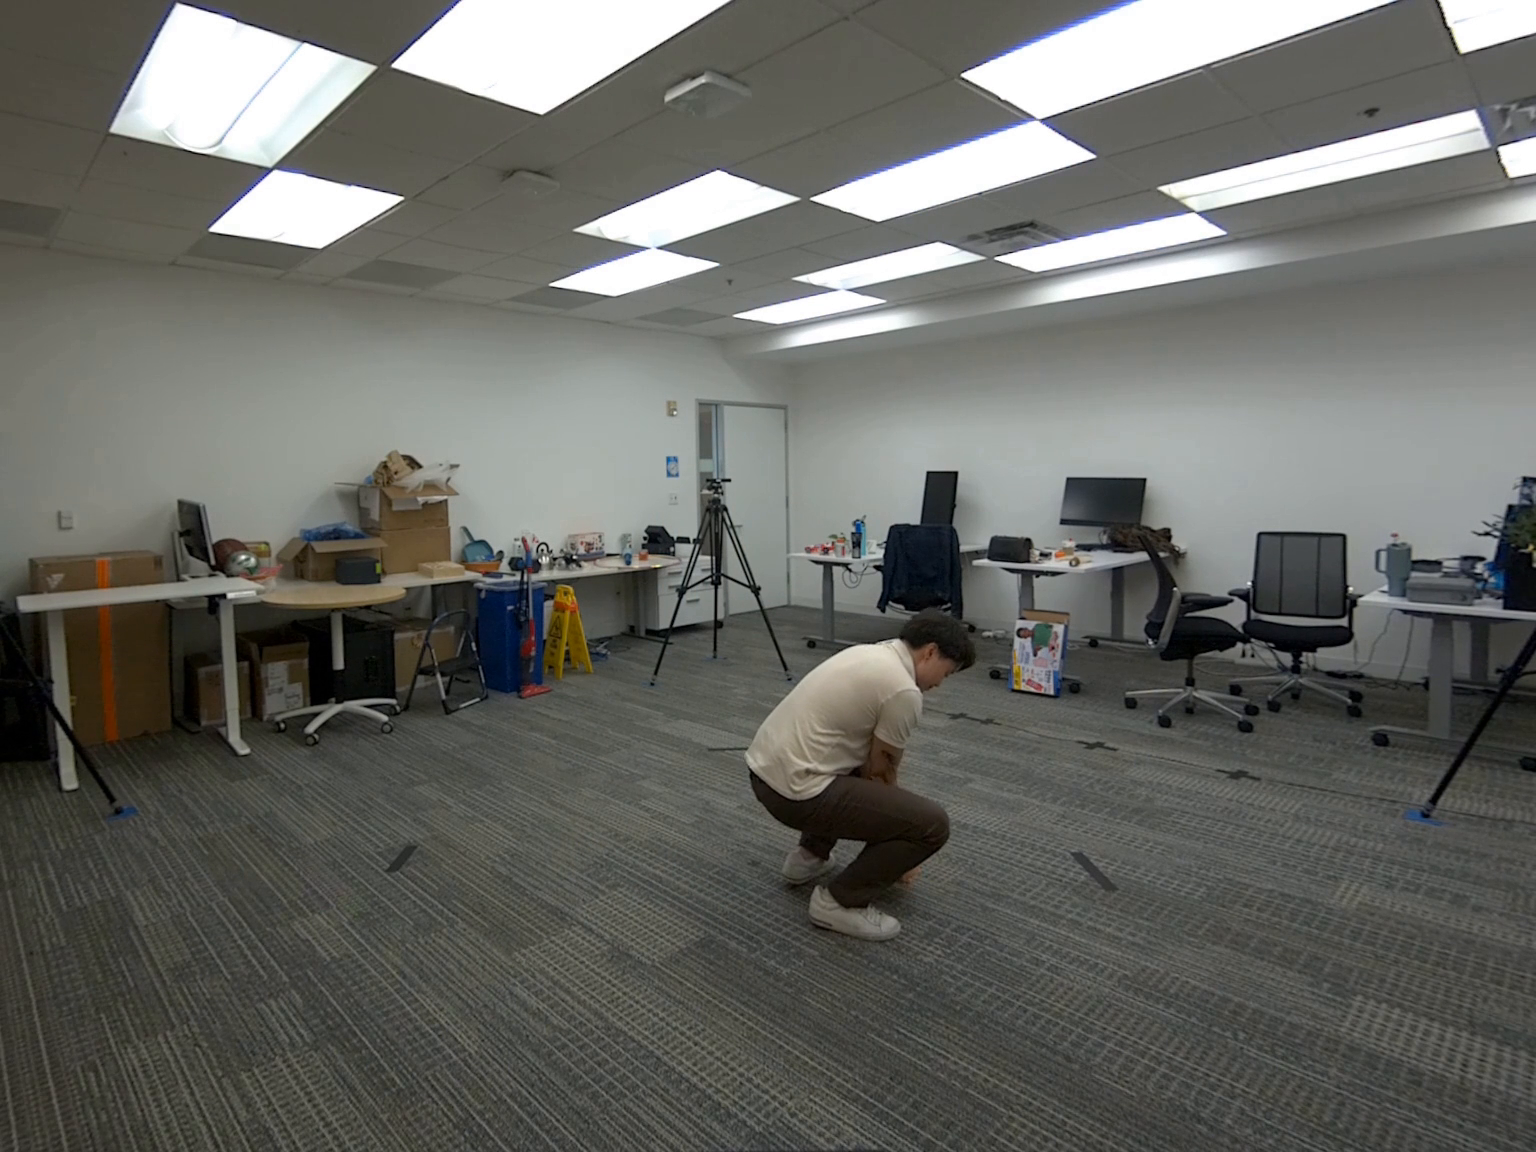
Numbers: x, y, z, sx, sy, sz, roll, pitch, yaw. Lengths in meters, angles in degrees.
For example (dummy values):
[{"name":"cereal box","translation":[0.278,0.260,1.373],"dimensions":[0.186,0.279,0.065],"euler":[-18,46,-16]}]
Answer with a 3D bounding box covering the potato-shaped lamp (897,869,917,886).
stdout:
[{"name":"potato-shaped lamp","translation":[0.428,0.915,2.891],"dimensions":[0.175,0.198,0.161],"euler":[-2,3,25]}]
